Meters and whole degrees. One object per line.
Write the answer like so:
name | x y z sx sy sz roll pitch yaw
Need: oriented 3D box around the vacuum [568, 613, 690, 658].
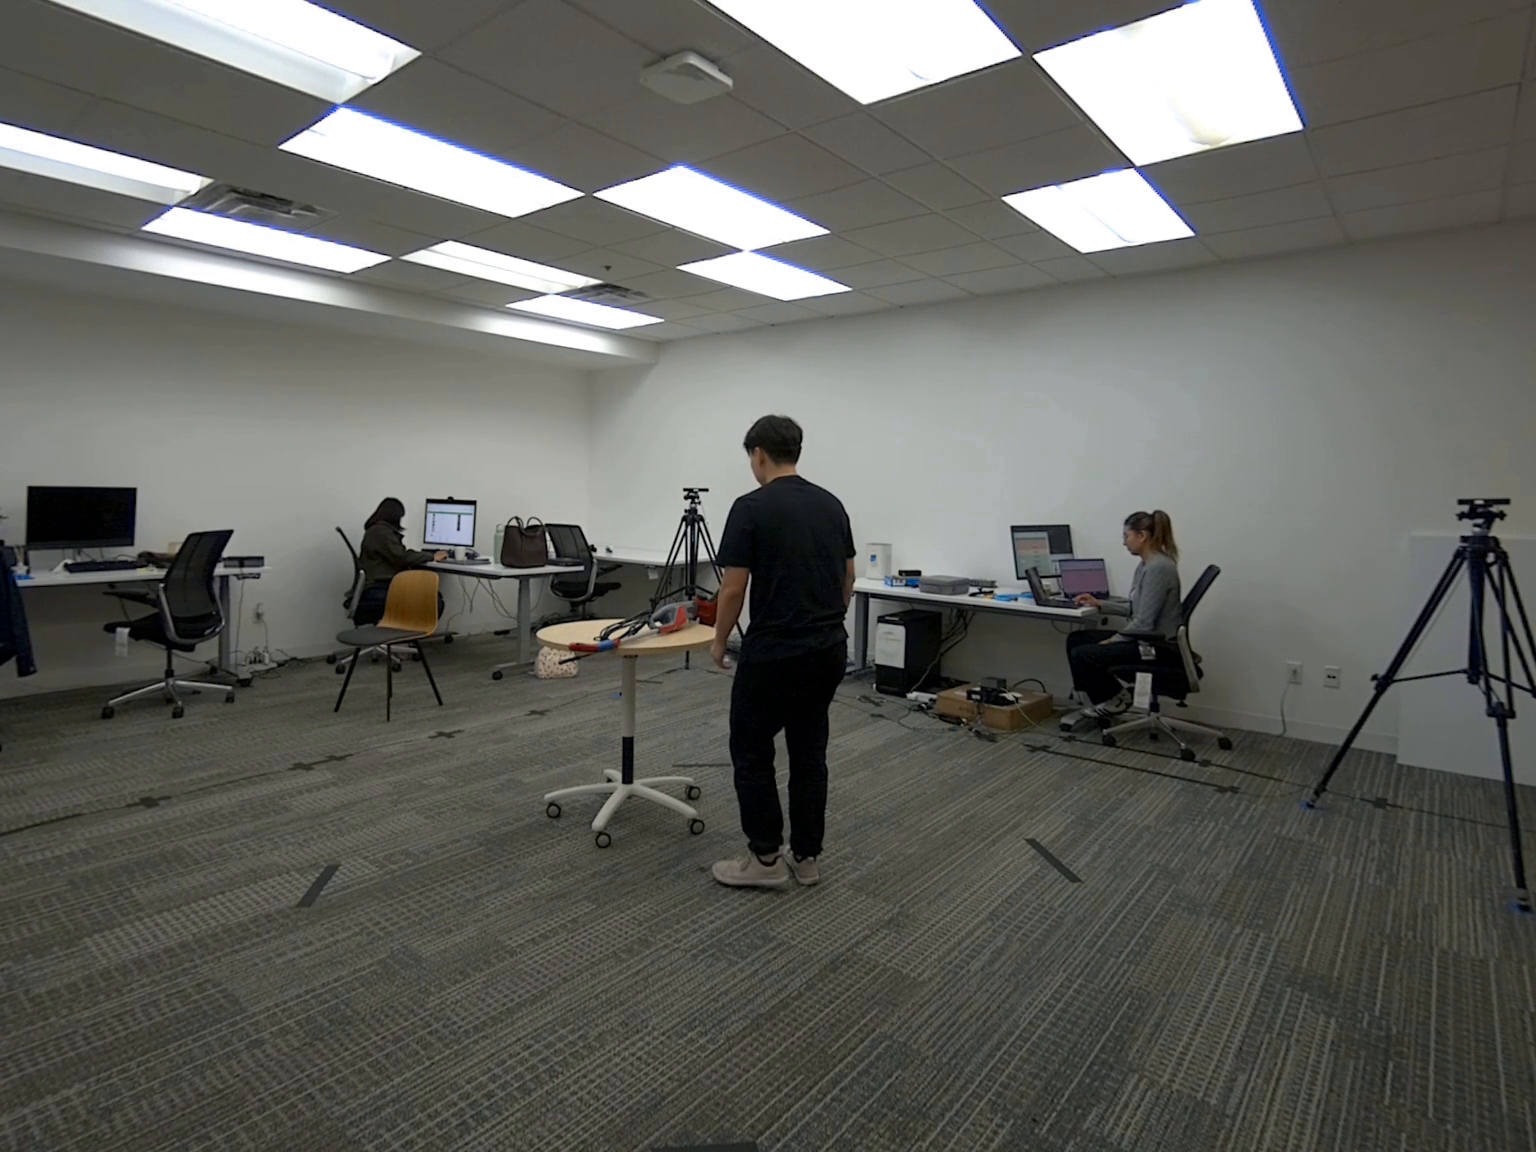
vacuum | -0.491 0.213 3.498 0.148 0.251 1.028 35 17 16
